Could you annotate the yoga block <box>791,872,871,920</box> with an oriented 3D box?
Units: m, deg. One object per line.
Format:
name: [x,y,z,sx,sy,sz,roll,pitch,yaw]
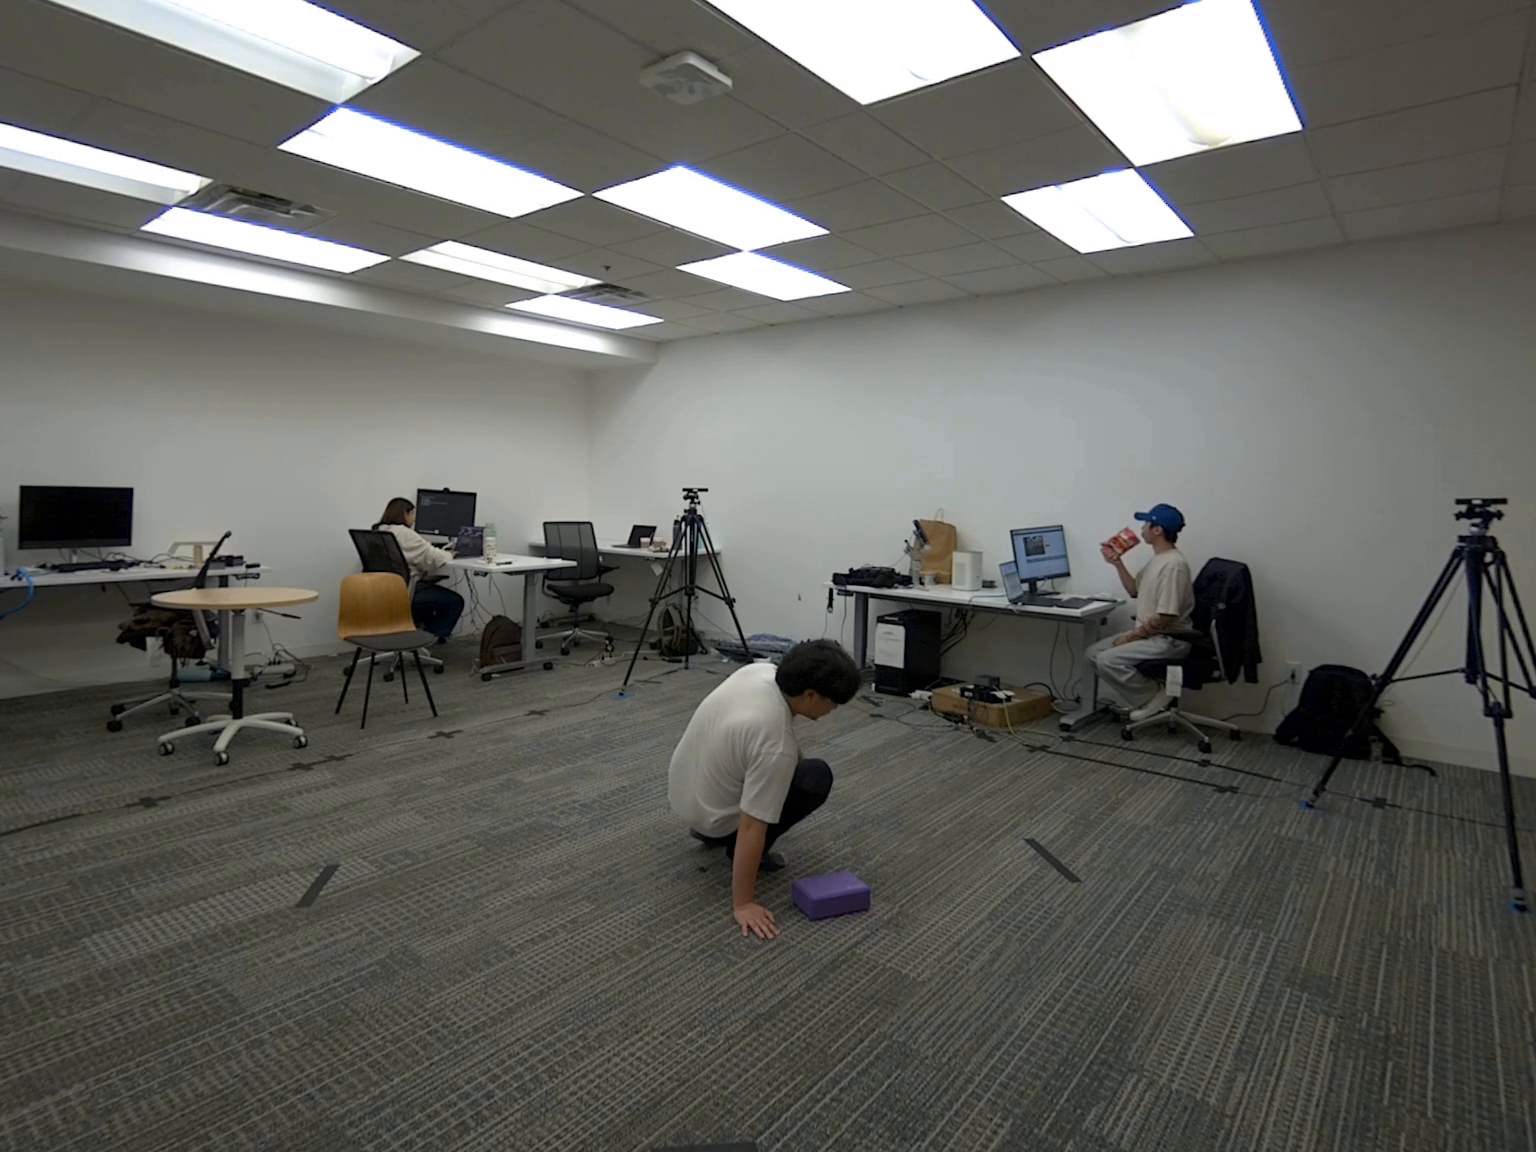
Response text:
yoga block: [0.205,1.064,2.854,0.224,0.076,0.153,0,5,-26]
